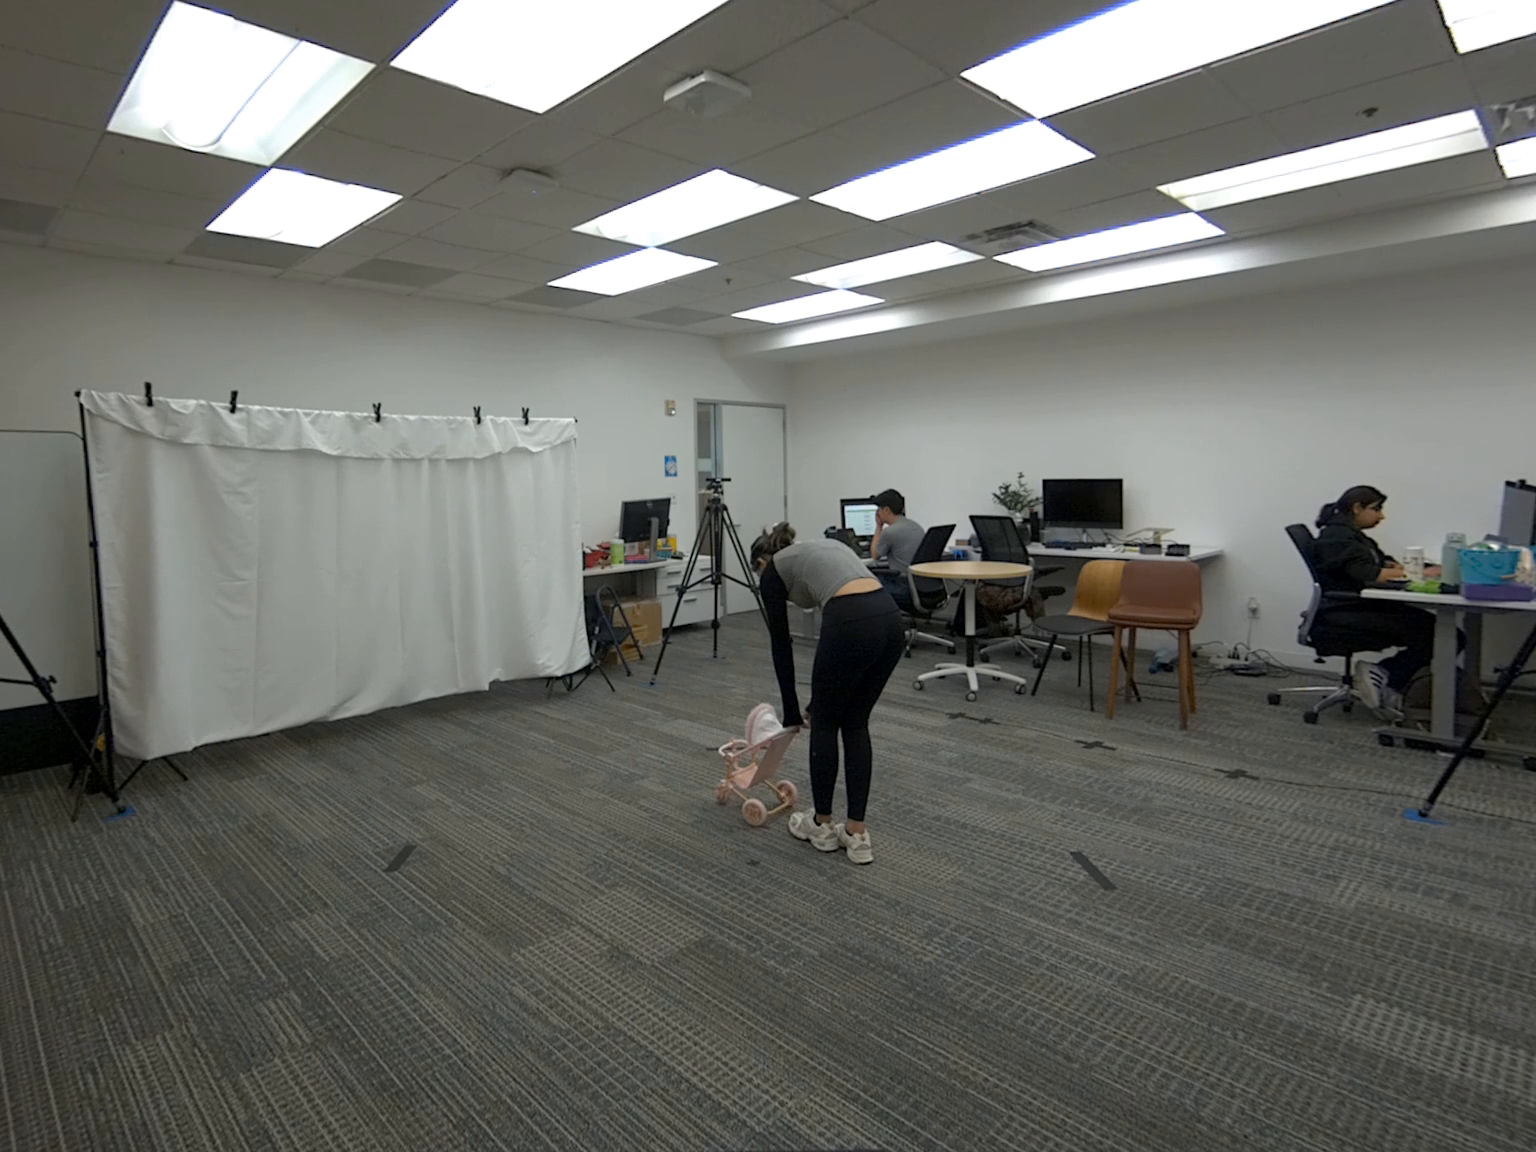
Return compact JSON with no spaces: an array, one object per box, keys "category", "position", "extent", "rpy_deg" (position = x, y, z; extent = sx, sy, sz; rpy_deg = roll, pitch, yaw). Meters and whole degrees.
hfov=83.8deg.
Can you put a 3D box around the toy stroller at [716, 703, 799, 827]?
[{"category":"toy stroller","position":[-0.040,0.766,3.563],"extent":[0.353,0.530,0.274],"rpy_deg":[23,17,35]}]
